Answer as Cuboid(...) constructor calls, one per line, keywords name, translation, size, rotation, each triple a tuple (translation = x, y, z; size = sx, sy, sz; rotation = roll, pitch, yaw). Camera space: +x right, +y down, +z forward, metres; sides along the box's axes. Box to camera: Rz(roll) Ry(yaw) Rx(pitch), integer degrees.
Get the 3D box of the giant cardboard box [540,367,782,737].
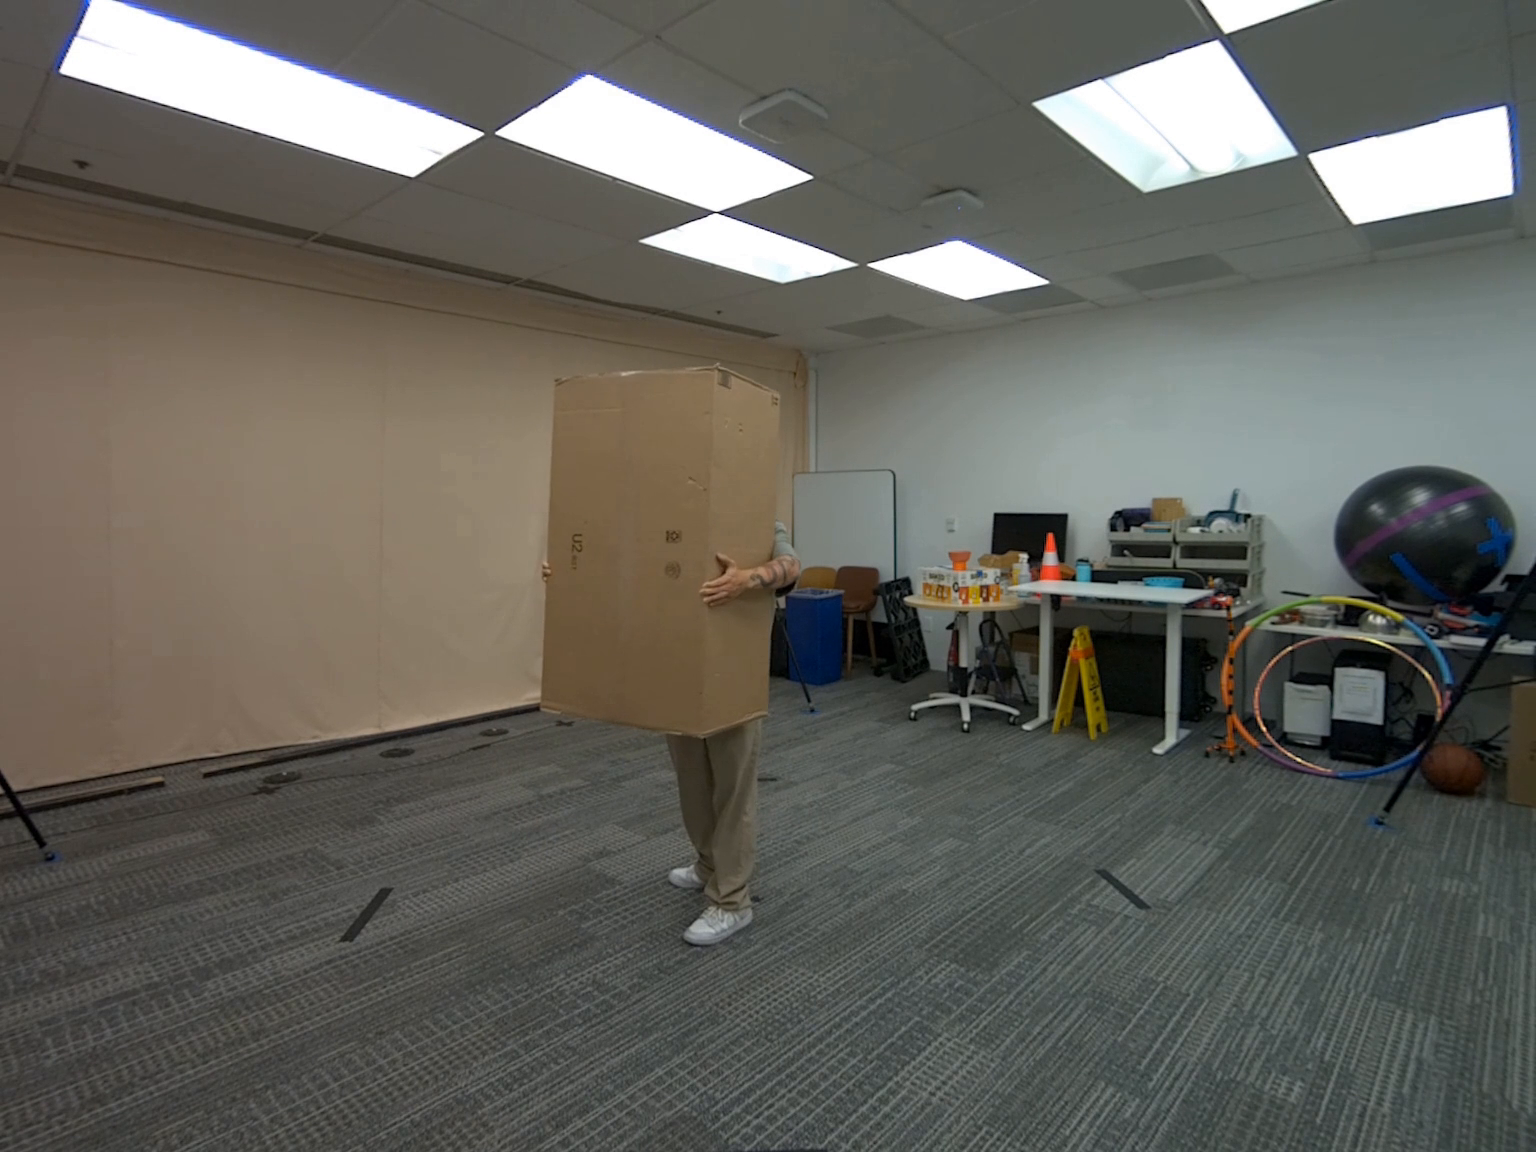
Cuboid(name="giant cardboard box", translation=(-0.329, -0.084, 2.617), size=(0.594, 1.026, 0.414), rotation=(2, 0, 29))
